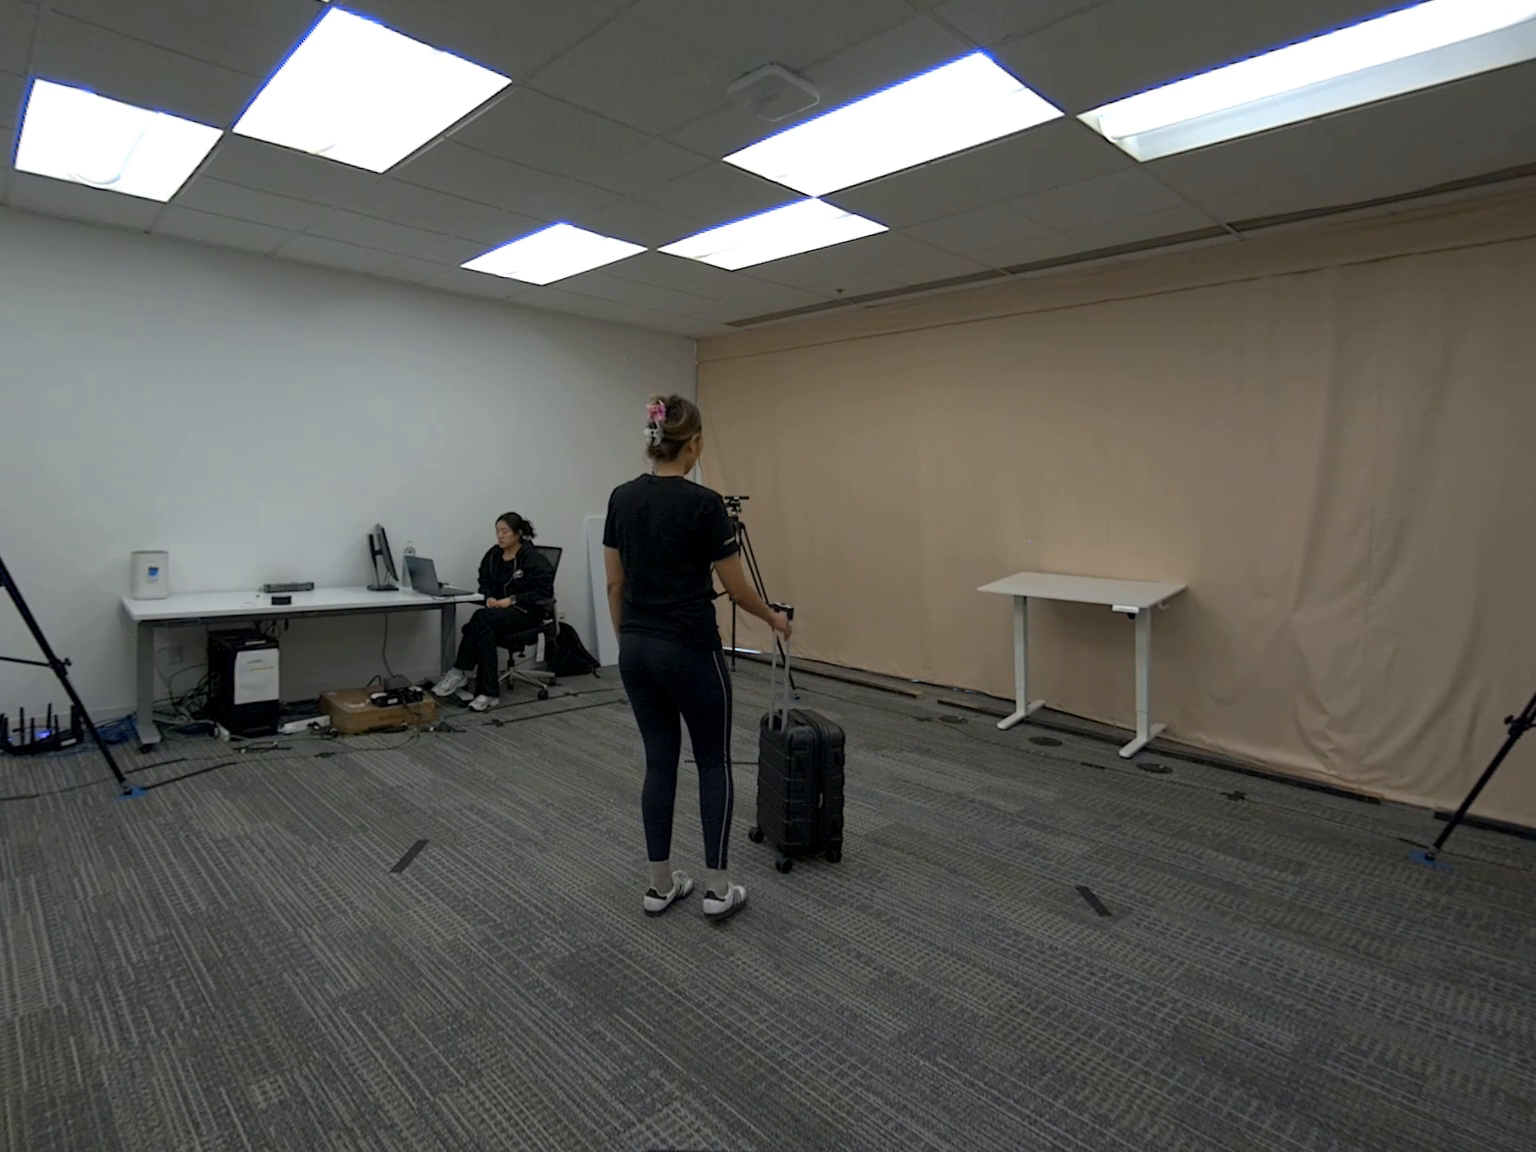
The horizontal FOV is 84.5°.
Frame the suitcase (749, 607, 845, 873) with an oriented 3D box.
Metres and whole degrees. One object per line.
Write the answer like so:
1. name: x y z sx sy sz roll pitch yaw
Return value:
1. suitcase: 0.132 0.610 3.312 0.253 0.977 0.390 3 3 -18
